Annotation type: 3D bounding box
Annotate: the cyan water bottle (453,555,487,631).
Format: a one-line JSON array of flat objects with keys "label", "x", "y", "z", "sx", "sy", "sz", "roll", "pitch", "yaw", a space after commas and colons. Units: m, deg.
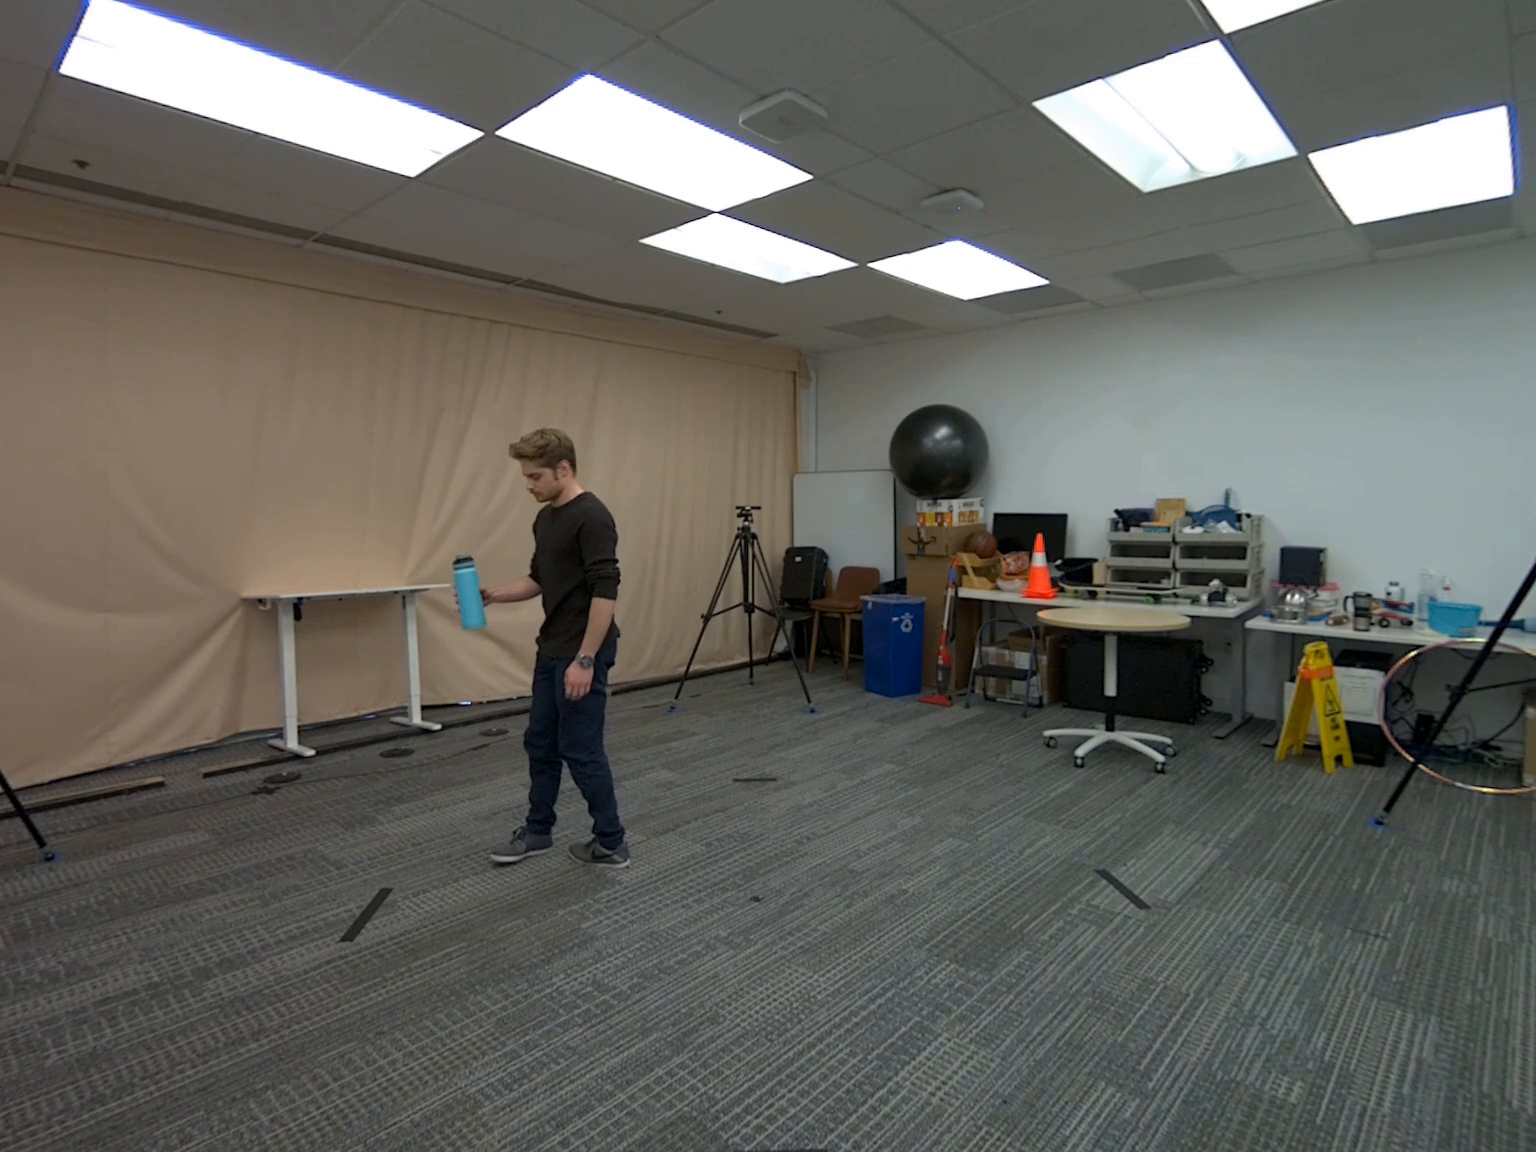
[{"label": "cyan water bottle", "x": -1.134, "y": 0.057, "z": 3.197, "sx": 0.092, "sy": 0.283, "sz": 0.092, "roll": -9, "pitch": 0, "yaw": -2}]
